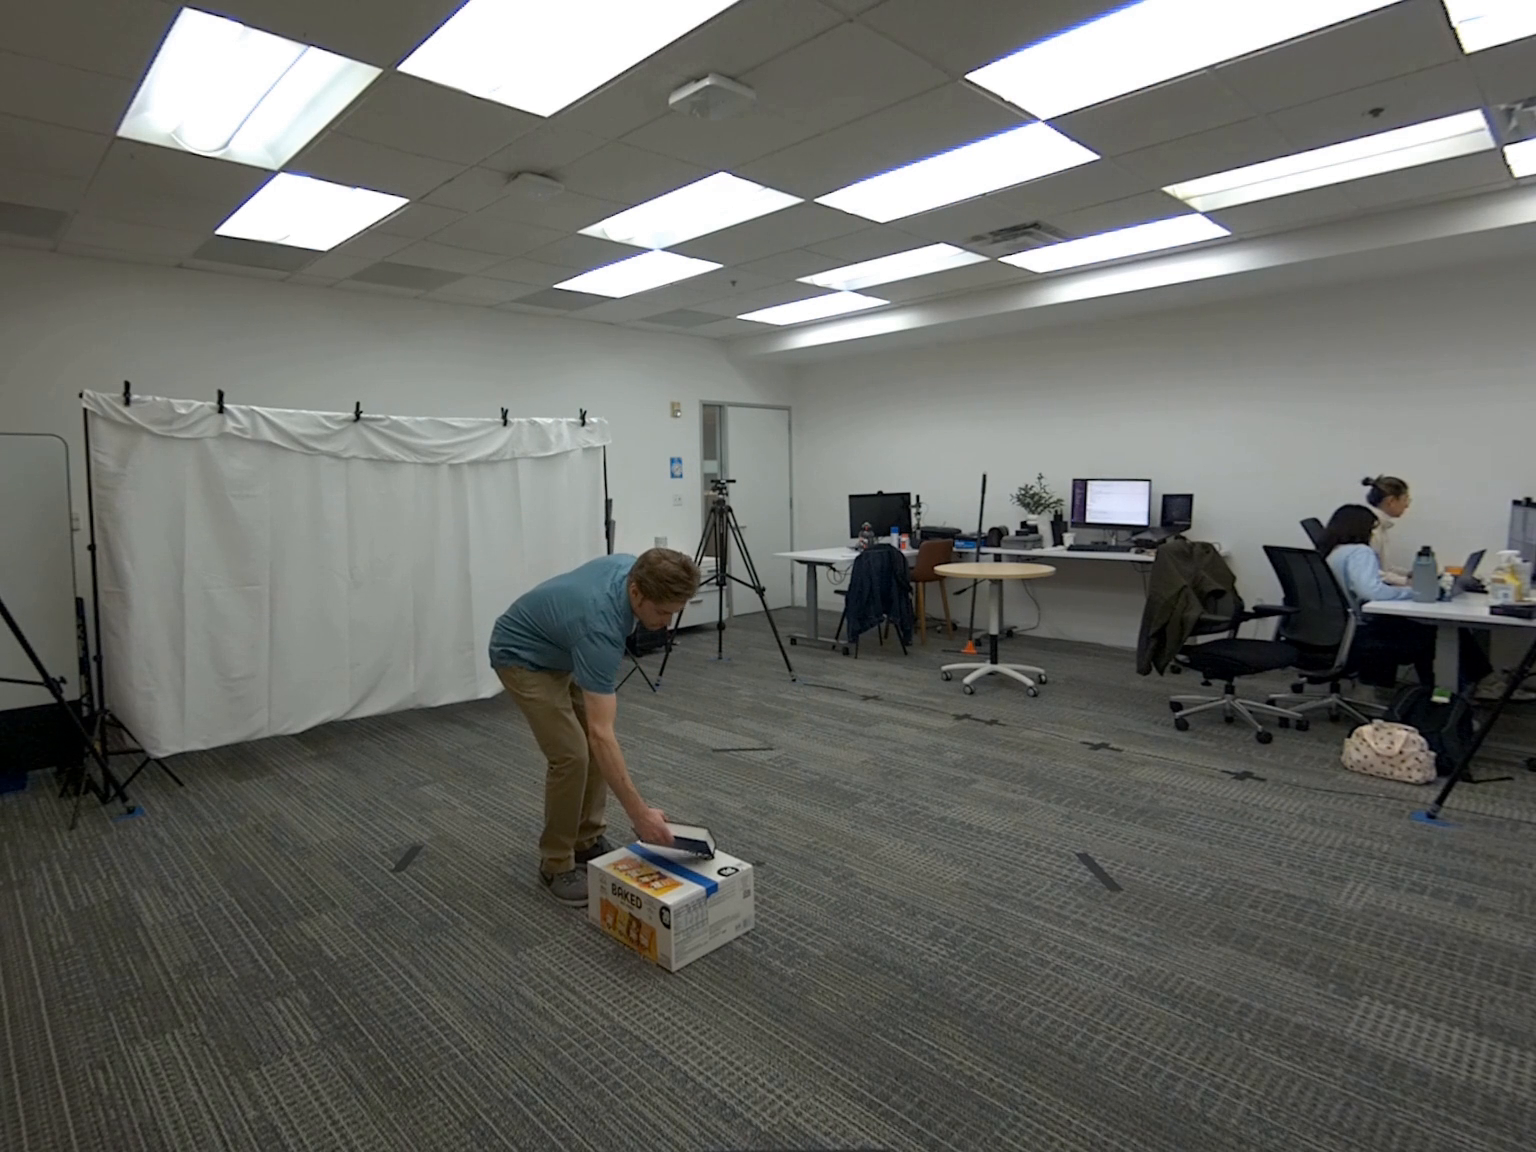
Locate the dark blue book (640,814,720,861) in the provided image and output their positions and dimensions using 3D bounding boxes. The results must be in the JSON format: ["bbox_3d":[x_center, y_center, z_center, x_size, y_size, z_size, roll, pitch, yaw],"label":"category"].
[{"bbox_3d":[-0.287,0.808,2.678,0.249,0.158,0.046,7,49,15],"label":"dark blue book"}]
